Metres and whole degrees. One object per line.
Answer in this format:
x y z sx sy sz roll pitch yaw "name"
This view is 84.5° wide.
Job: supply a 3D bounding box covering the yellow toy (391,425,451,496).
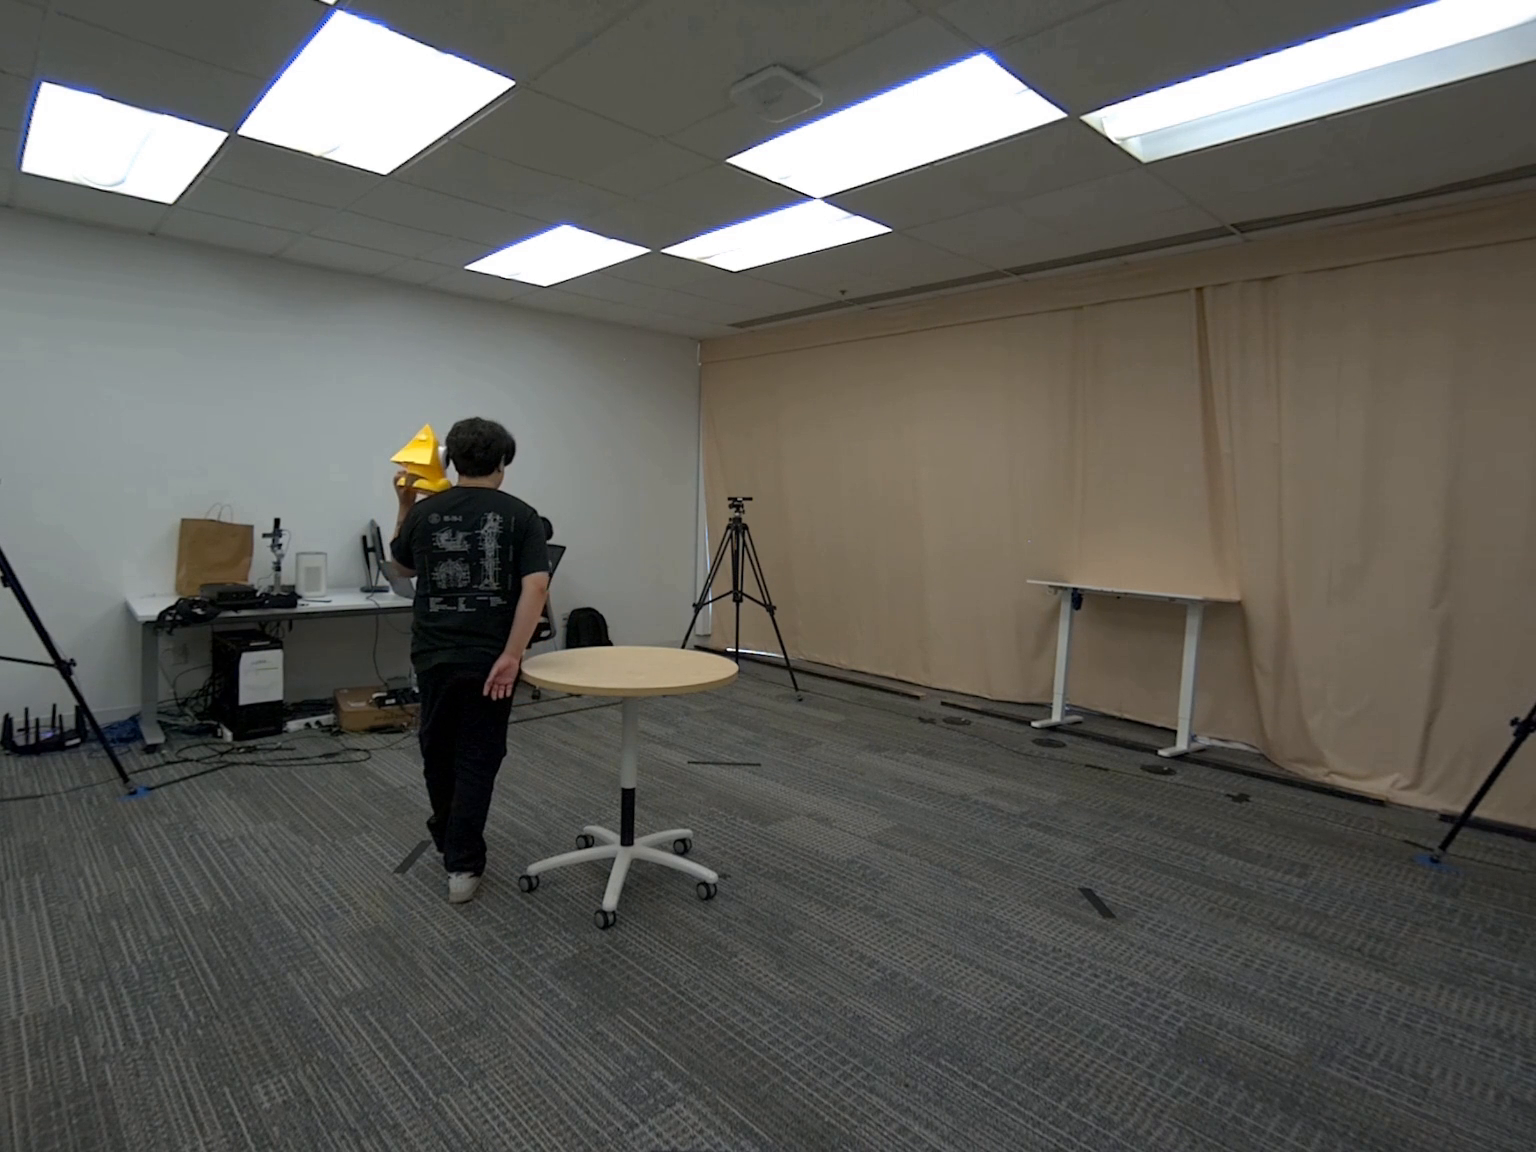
-1.197 -0.411 2.996 0.209 0.232 0.188 8 -8 28 "yellow toy"
